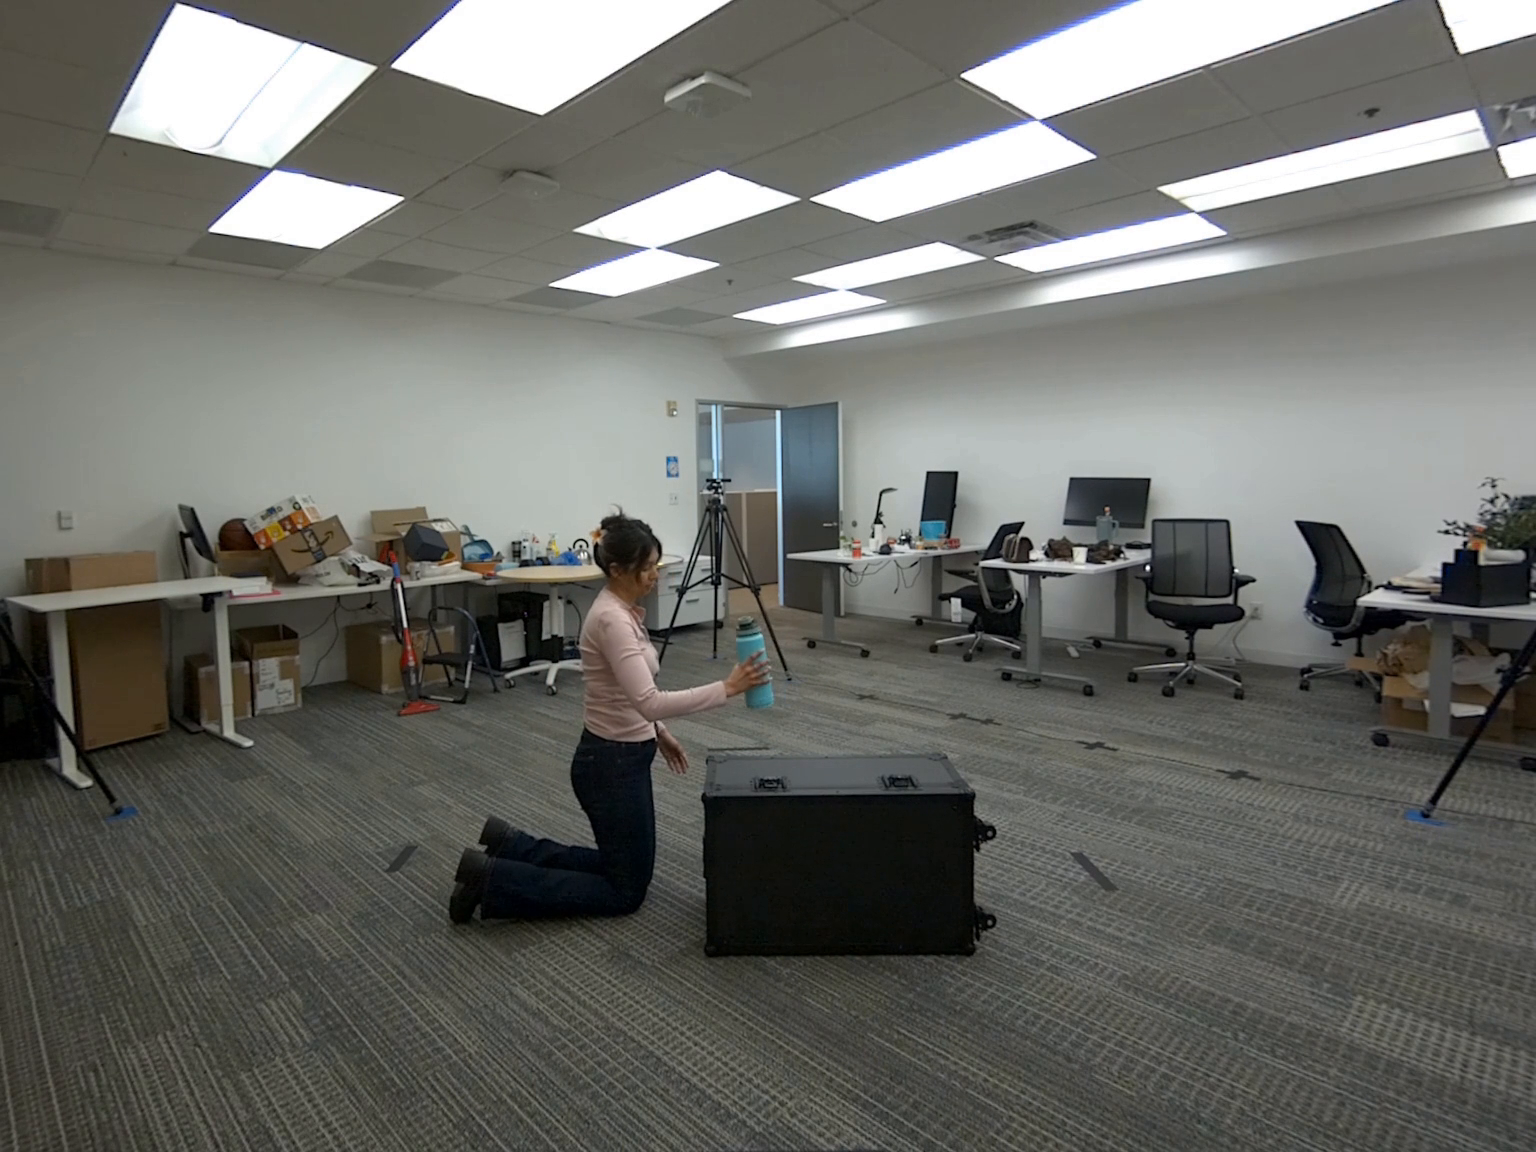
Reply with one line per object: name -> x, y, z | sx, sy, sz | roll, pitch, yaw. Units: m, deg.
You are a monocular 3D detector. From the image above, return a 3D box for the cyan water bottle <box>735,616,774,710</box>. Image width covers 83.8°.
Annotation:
cyan water bottle -> -0.045, 0.272, 2.693 | 0.092, 0.282, 0.093 | -7, 3, -1
